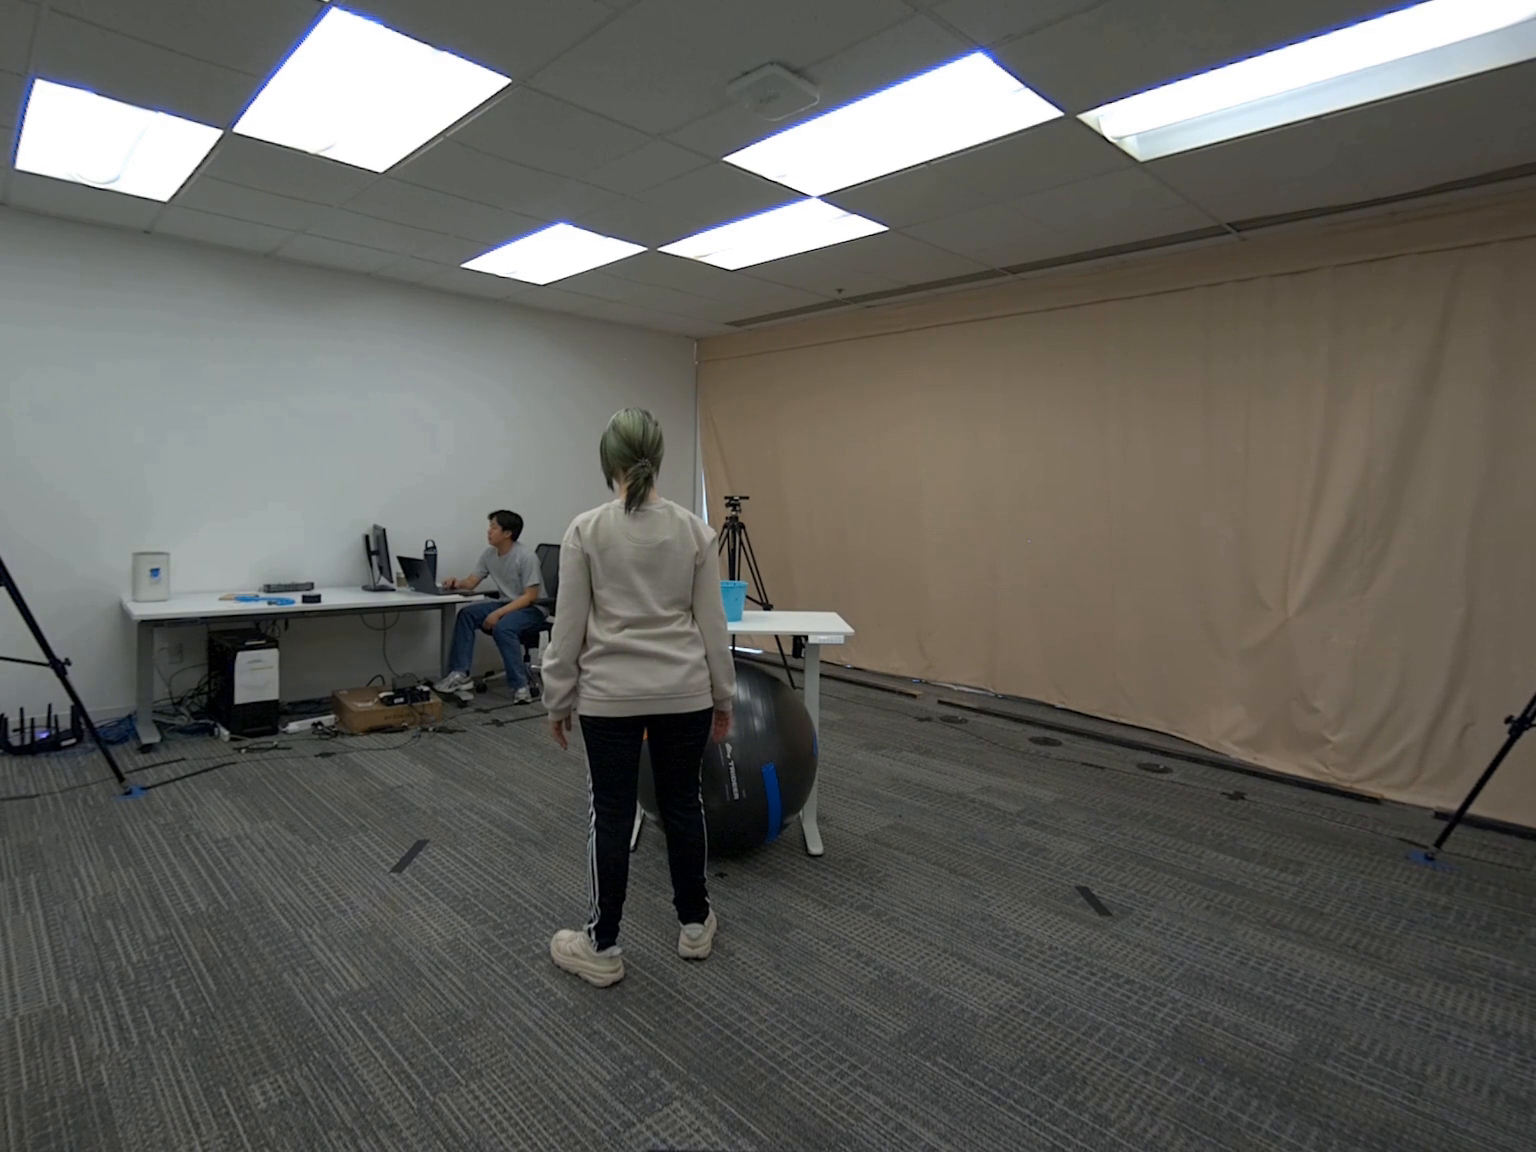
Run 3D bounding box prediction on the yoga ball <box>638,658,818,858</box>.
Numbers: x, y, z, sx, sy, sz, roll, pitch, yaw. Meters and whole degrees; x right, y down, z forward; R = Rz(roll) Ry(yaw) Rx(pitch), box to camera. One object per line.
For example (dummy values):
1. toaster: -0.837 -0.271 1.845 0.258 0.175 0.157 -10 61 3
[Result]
1. yoga ball: -0.188 0.709 3.352 0.757 0.756 0.761 1 4 -1
